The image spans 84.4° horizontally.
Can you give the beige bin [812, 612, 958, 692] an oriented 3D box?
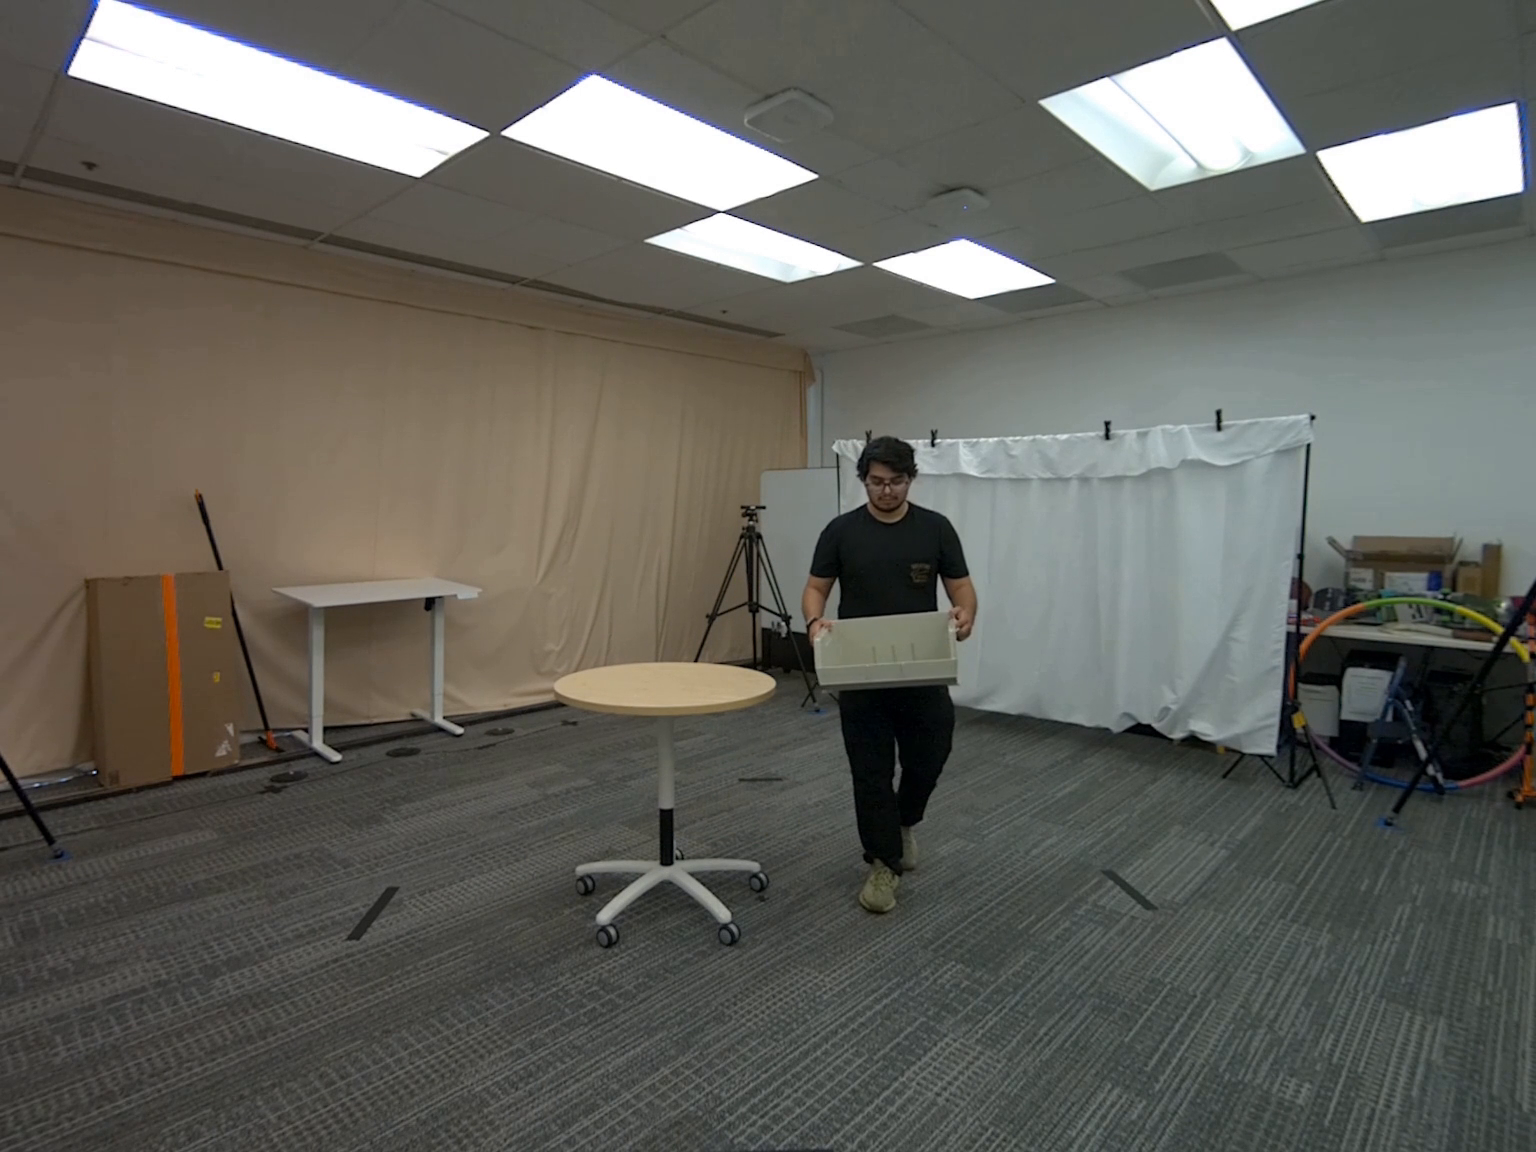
[{"bbox_3d":[0.380,0.237,2.670,0.428,0.189,0.373,-5,3,13],"label":"beige bin"}]
